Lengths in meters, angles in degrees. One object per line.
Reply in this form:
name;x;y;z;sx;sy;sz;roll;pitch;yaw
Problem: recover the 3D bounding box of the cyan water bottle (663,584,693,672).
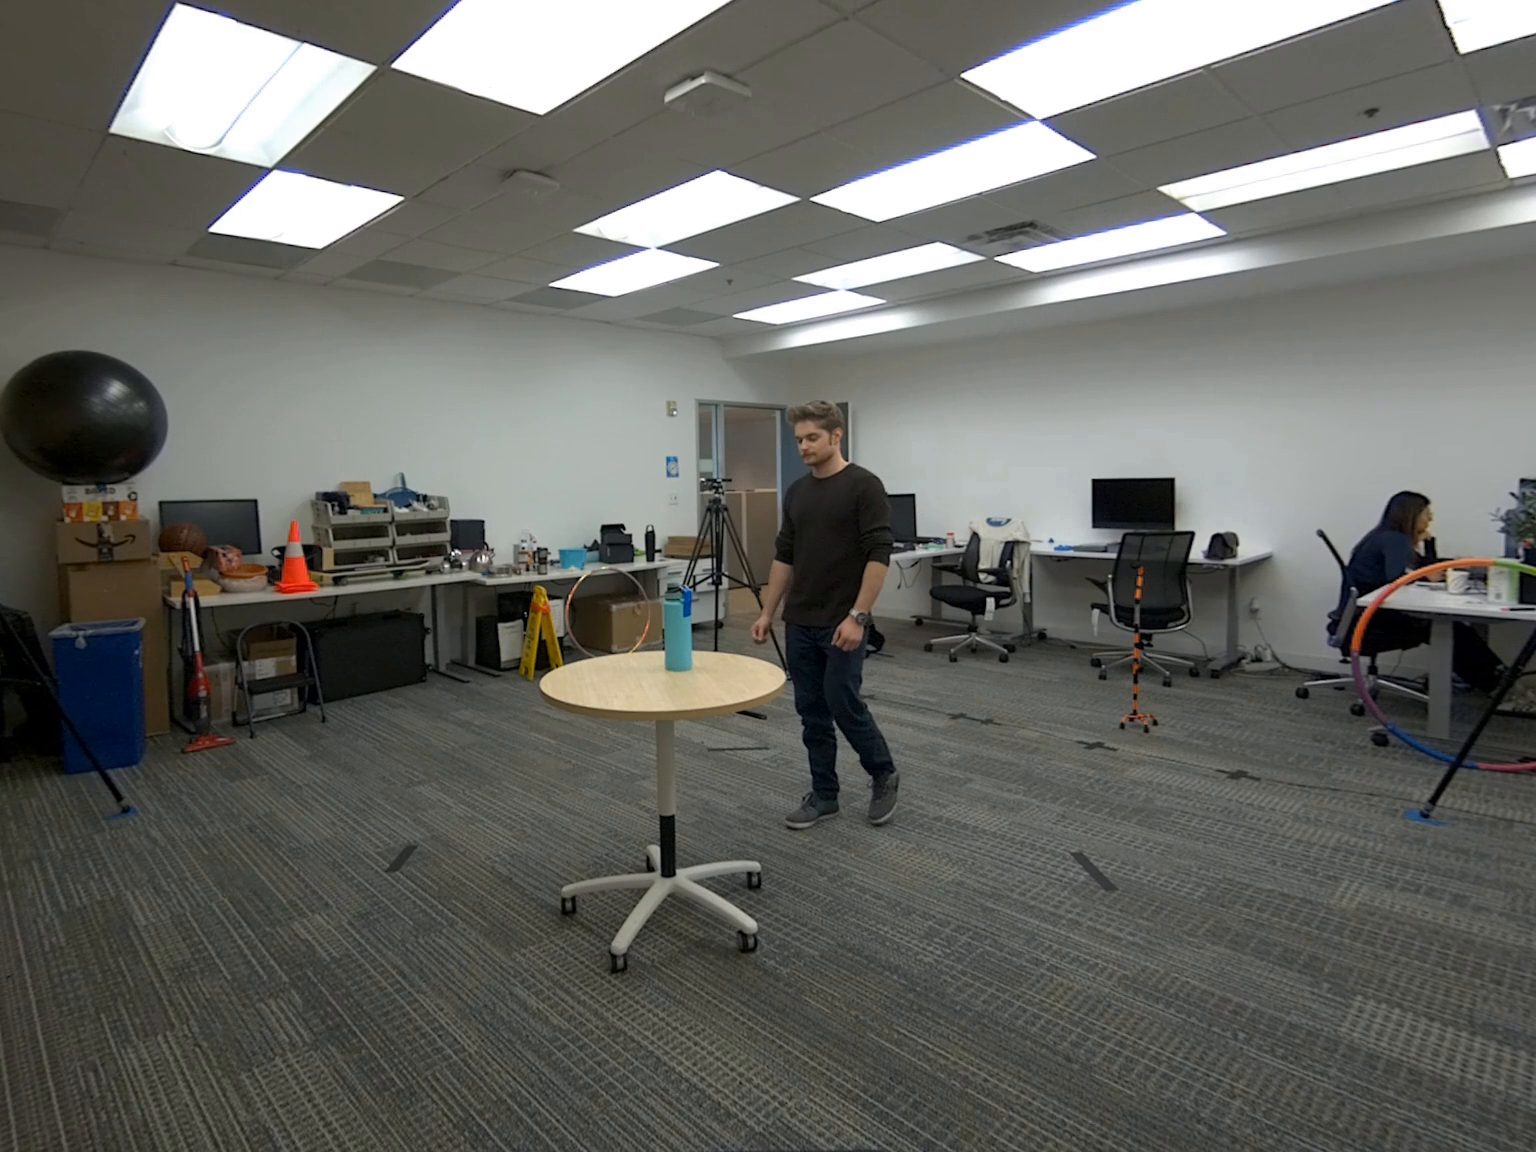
cyan water bottle;-0.289;0.164;2.773;0.092;0.282;0.093;-1;5;-2
